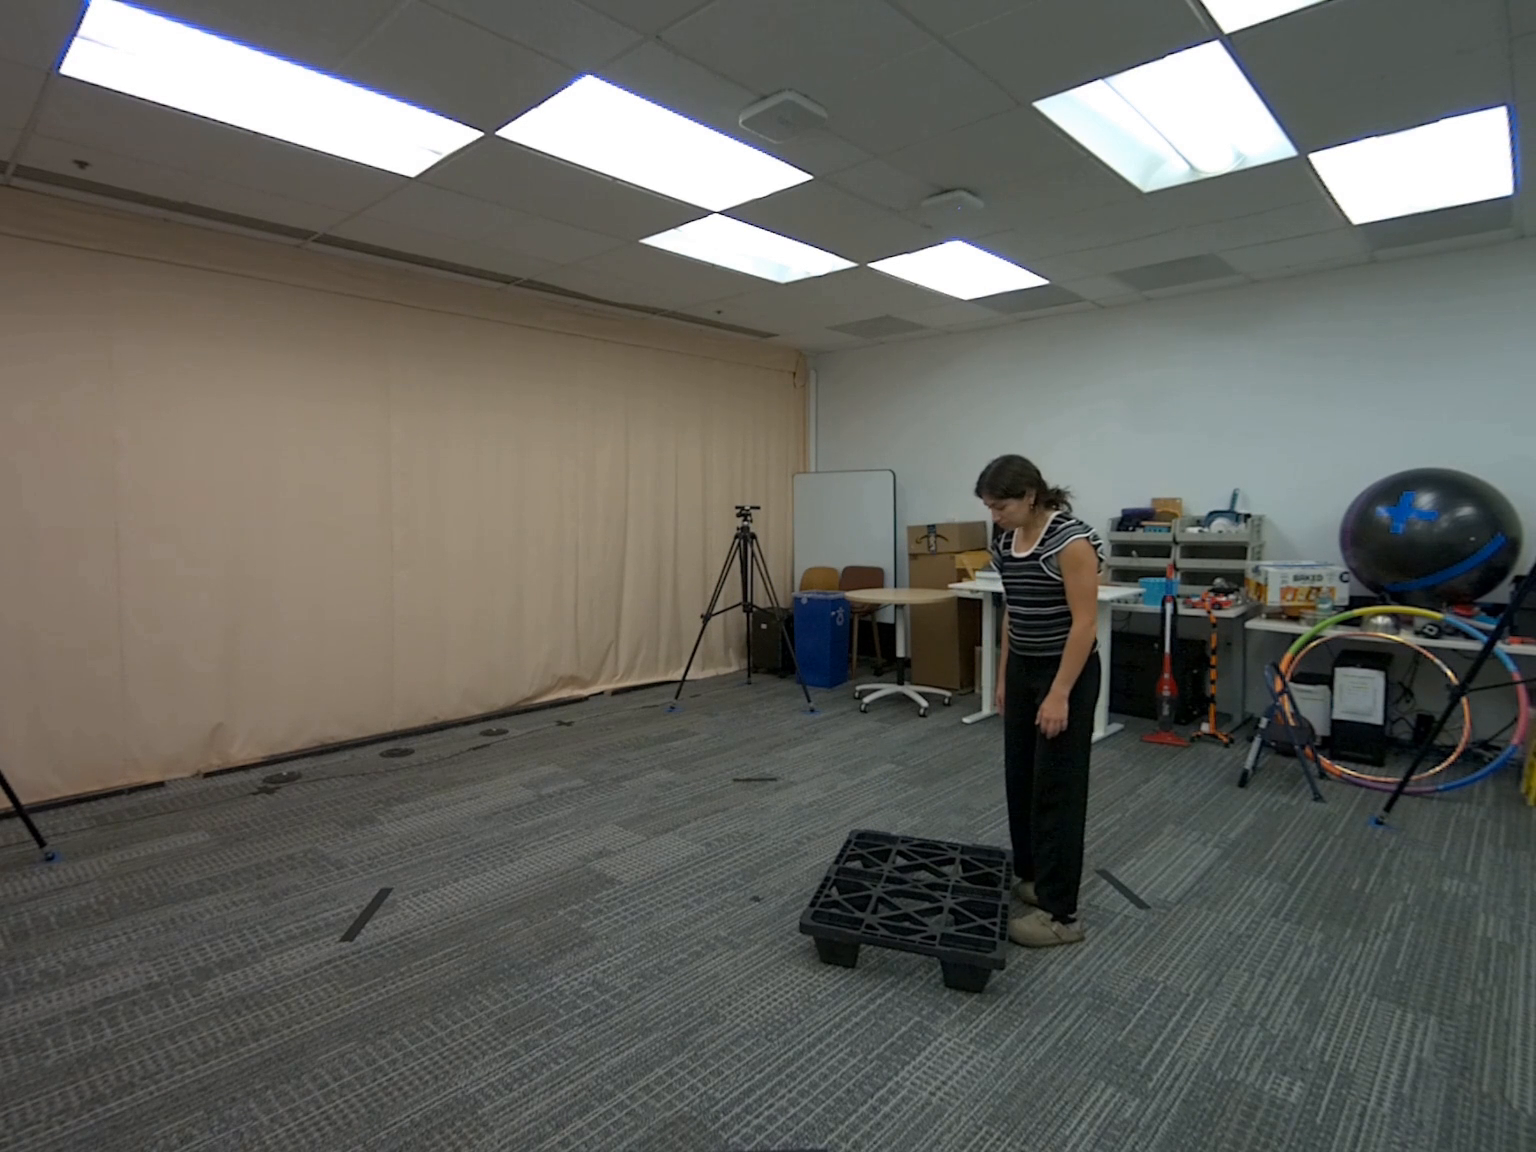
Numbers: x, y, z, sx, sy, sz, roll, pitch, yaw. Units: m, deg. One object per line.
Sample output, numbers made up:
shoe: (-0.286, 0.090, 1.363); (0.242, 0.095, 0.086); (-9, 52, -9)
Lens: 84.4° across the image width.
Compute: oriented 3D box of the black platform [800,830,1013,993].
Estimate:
black platform: (0.493, 1.089, 2.813); (0.618, 0.143, 0.791); (1, 5, 19)
